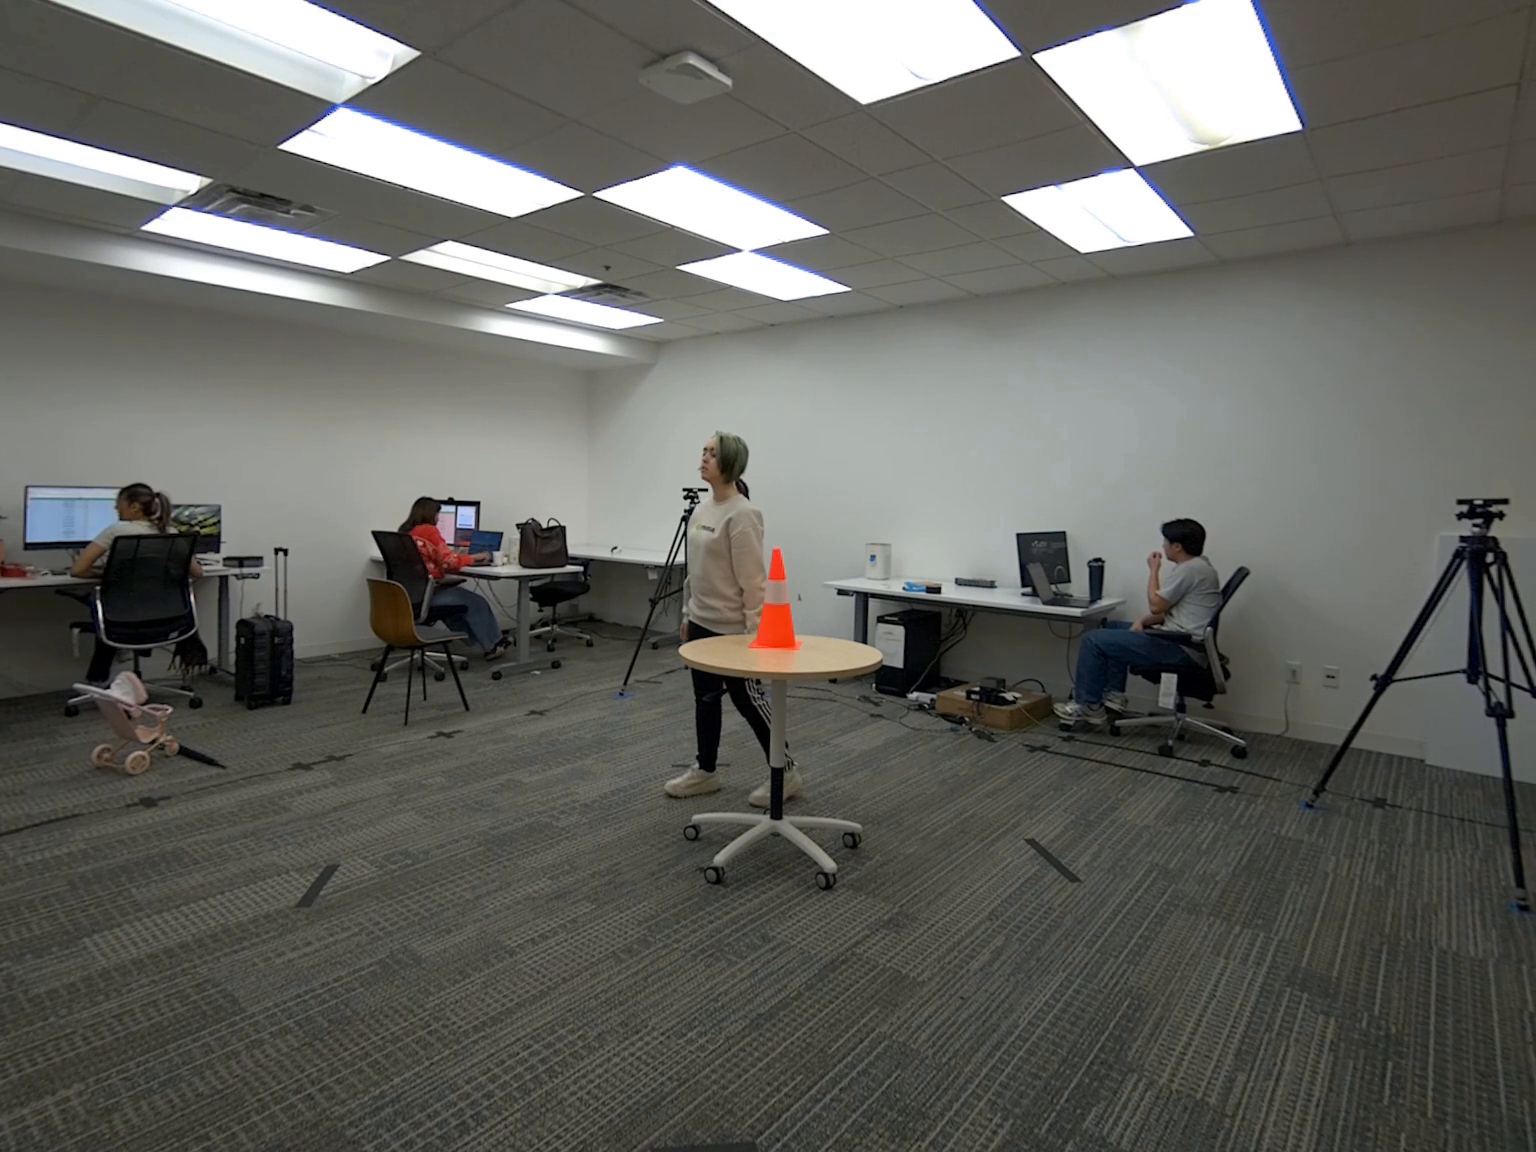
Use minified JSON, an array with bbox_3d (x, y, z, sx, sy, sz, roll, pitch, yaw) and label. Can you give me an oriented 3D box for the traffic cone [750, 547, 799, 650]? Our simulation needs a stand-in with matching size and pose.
[{"bbox_3d":[0.020,0.077,3.348,0.207,0.382,0.202,1,4,9],"label":"traffic cone"}]
